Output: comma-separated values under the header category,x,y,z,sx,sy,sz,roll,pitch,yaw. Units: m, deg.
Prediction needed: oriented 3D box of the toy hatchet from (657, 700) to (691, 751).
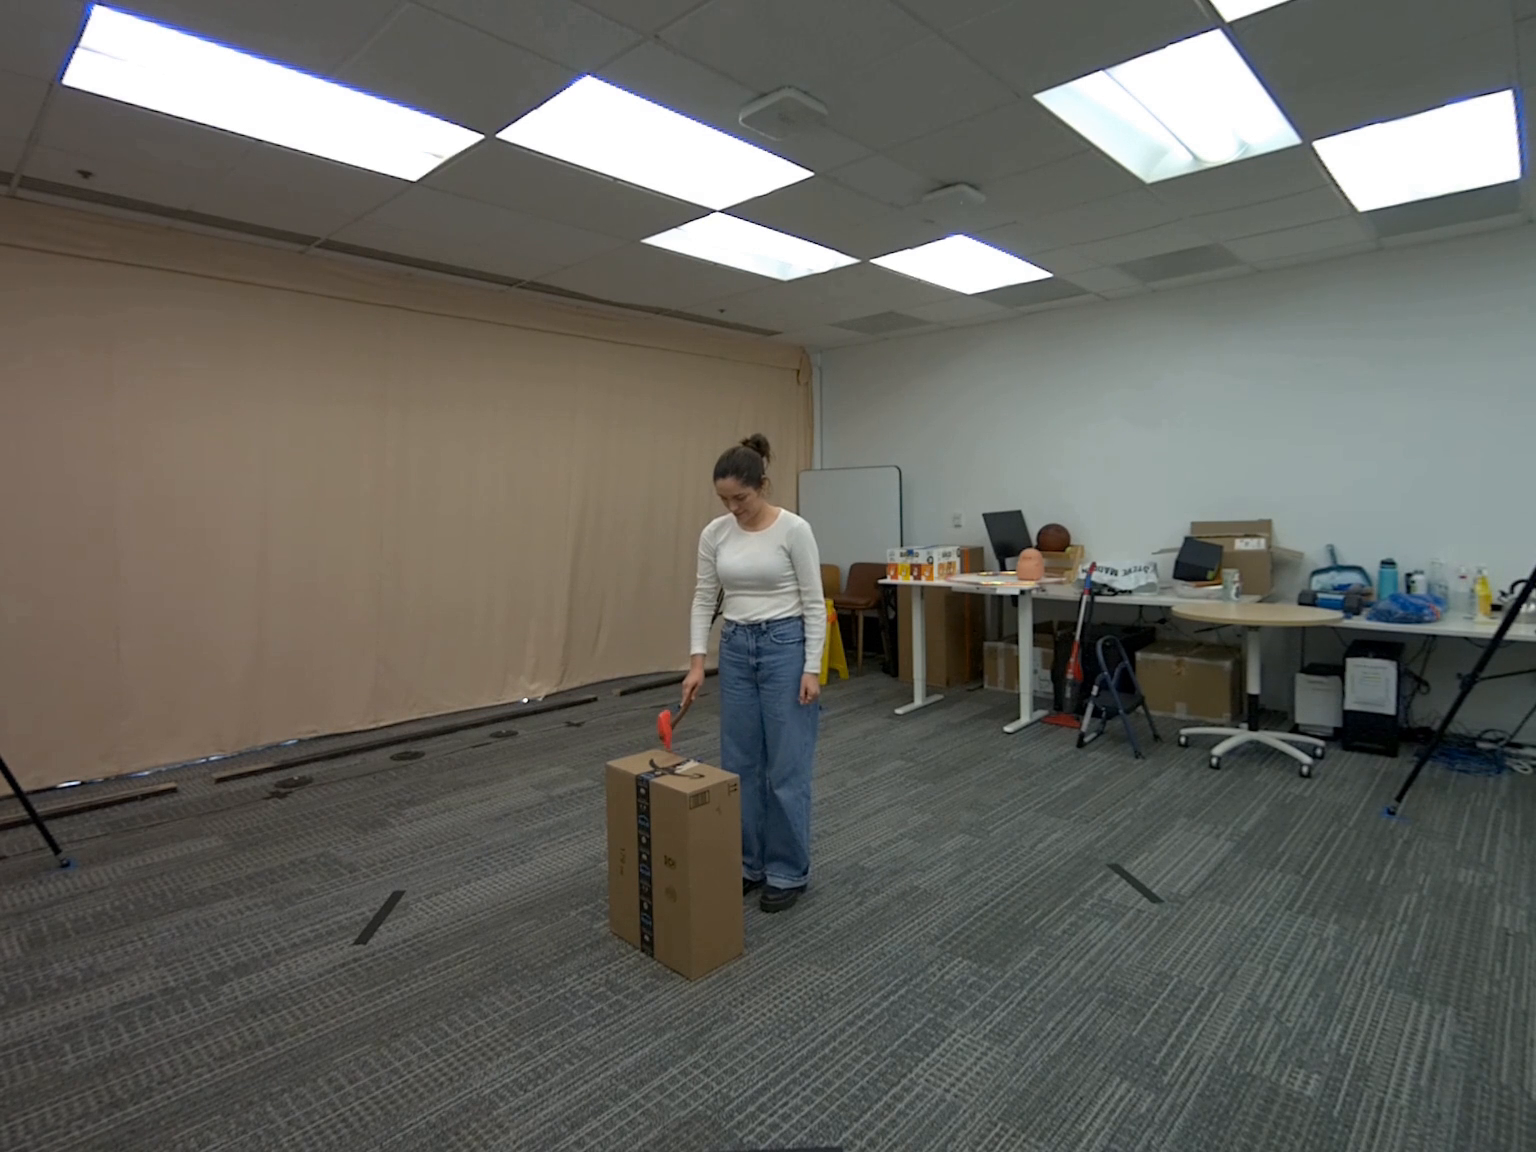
category,x,y,z,sx,sy,sz,roll,pitch,yaw
toy hatchet,-0.312,0.448,2.821,0.030,0.127,0.271,-3,40,26
